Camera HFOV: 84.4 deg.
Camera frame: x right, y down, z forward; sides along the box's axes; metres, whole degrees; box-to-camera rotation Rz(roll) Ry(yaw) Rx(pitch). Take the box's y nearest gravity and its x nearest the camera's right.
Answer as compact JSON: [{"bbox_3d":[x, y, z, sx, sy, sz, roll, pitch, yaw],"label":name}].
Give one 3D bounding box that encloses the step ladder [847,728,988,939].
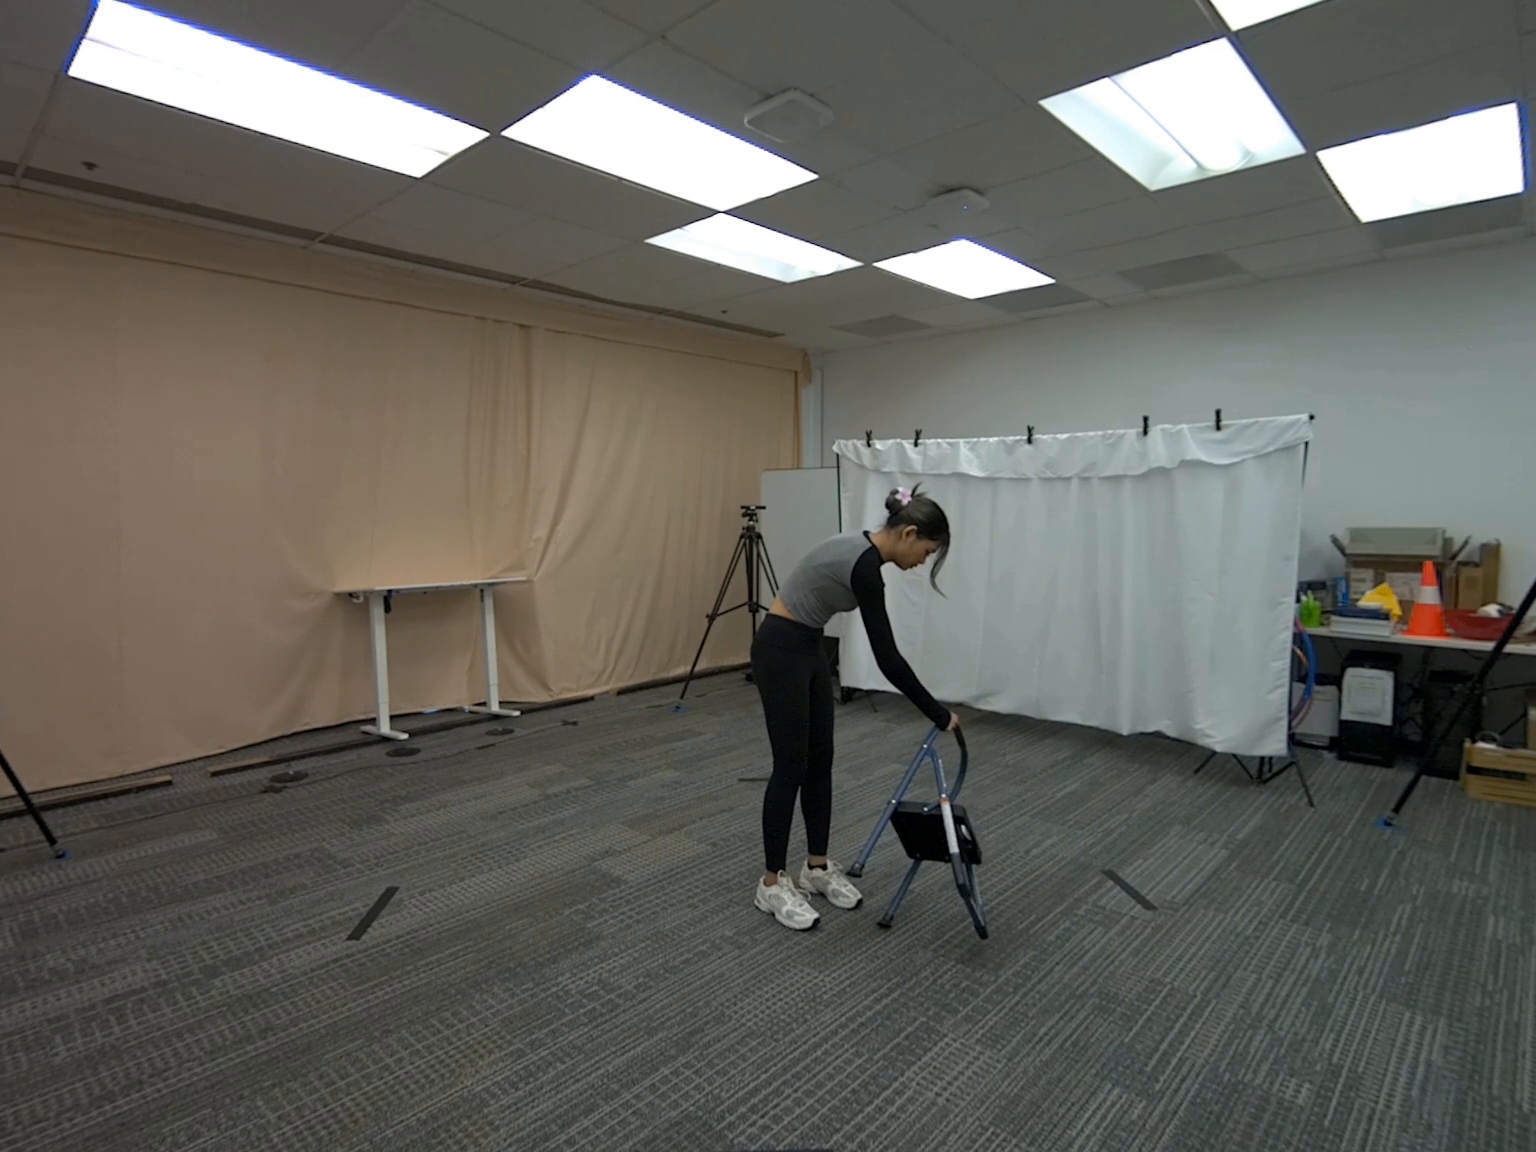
[{"bbox_3d":[0.535,0.787,2.747,0.357,0.610,0.417,-3,-42,23],"label":"step ladder"}]
